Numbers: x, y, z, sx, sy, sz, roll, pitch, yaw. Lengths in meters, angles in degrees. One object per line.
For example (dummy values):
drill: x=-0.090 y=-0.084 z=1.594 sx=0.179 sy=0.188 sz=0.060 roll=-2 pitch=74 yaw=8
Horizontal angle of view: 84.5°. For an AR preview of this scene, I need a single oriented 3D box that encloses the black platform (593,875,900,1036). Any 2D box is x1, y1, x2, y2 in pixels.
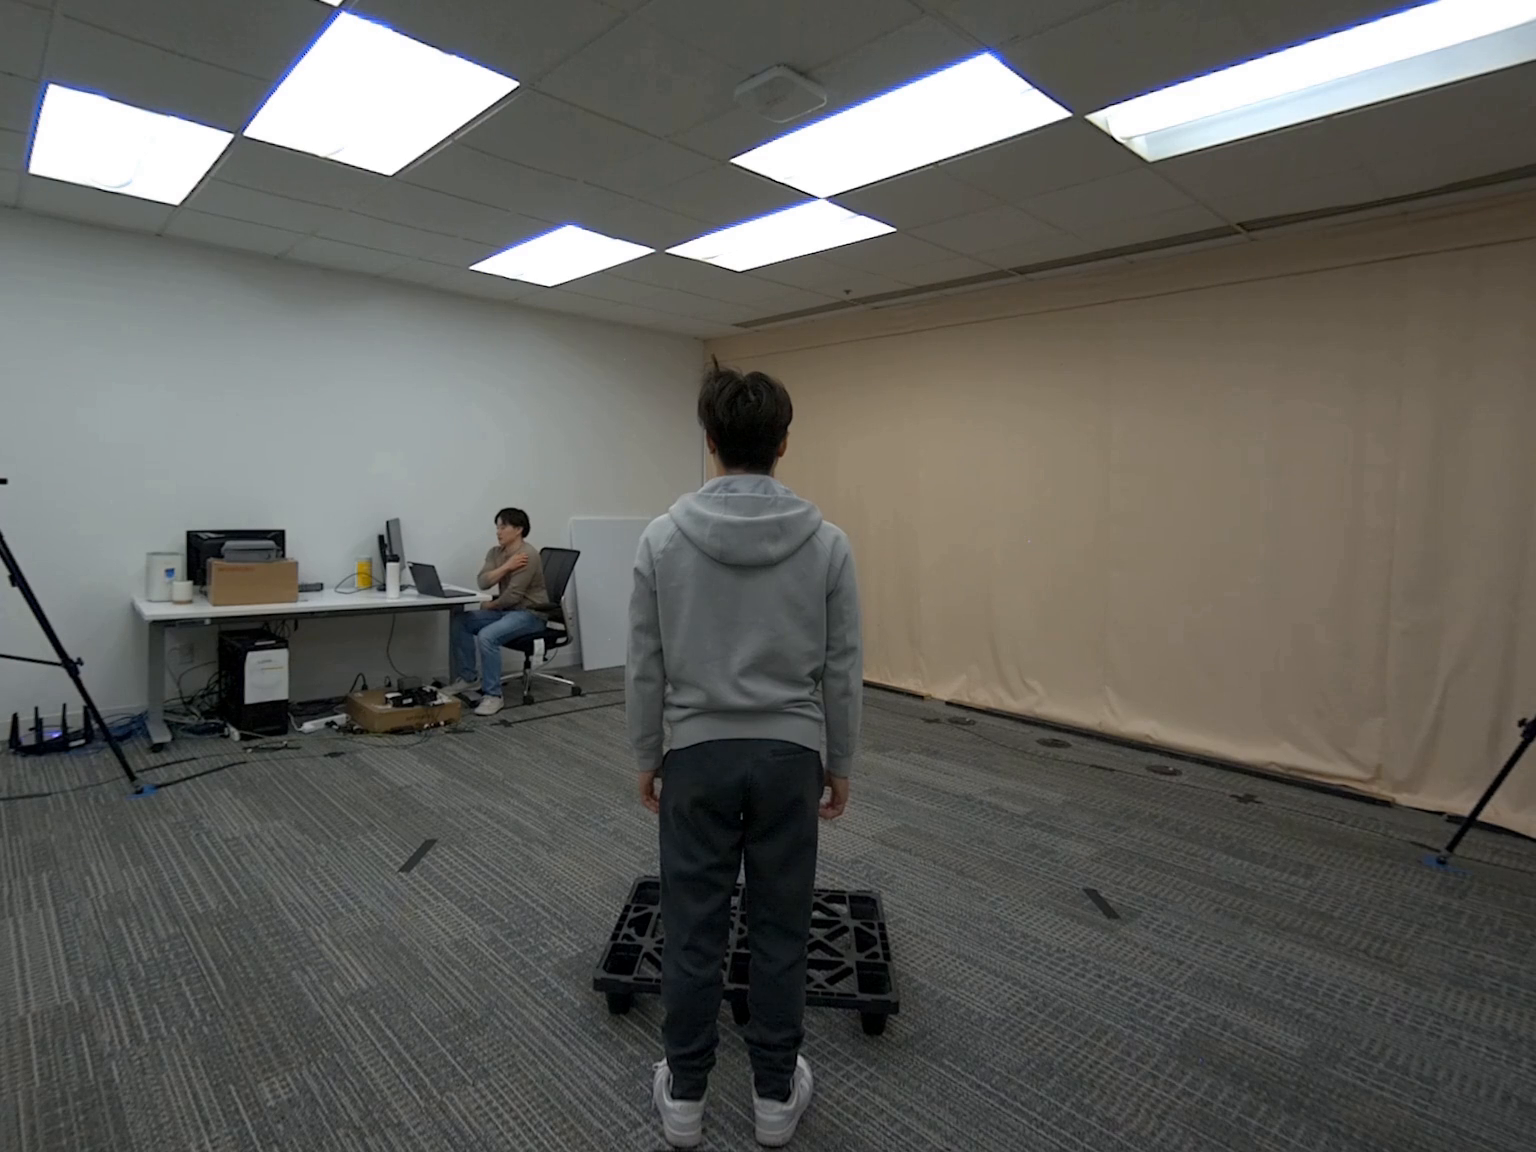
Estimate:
black platform: x=-0.060 y=1.098 z=2.461 sx=0.809 sy=0.143 sz=0.604 roll=2 pitch=5 yaw=4
